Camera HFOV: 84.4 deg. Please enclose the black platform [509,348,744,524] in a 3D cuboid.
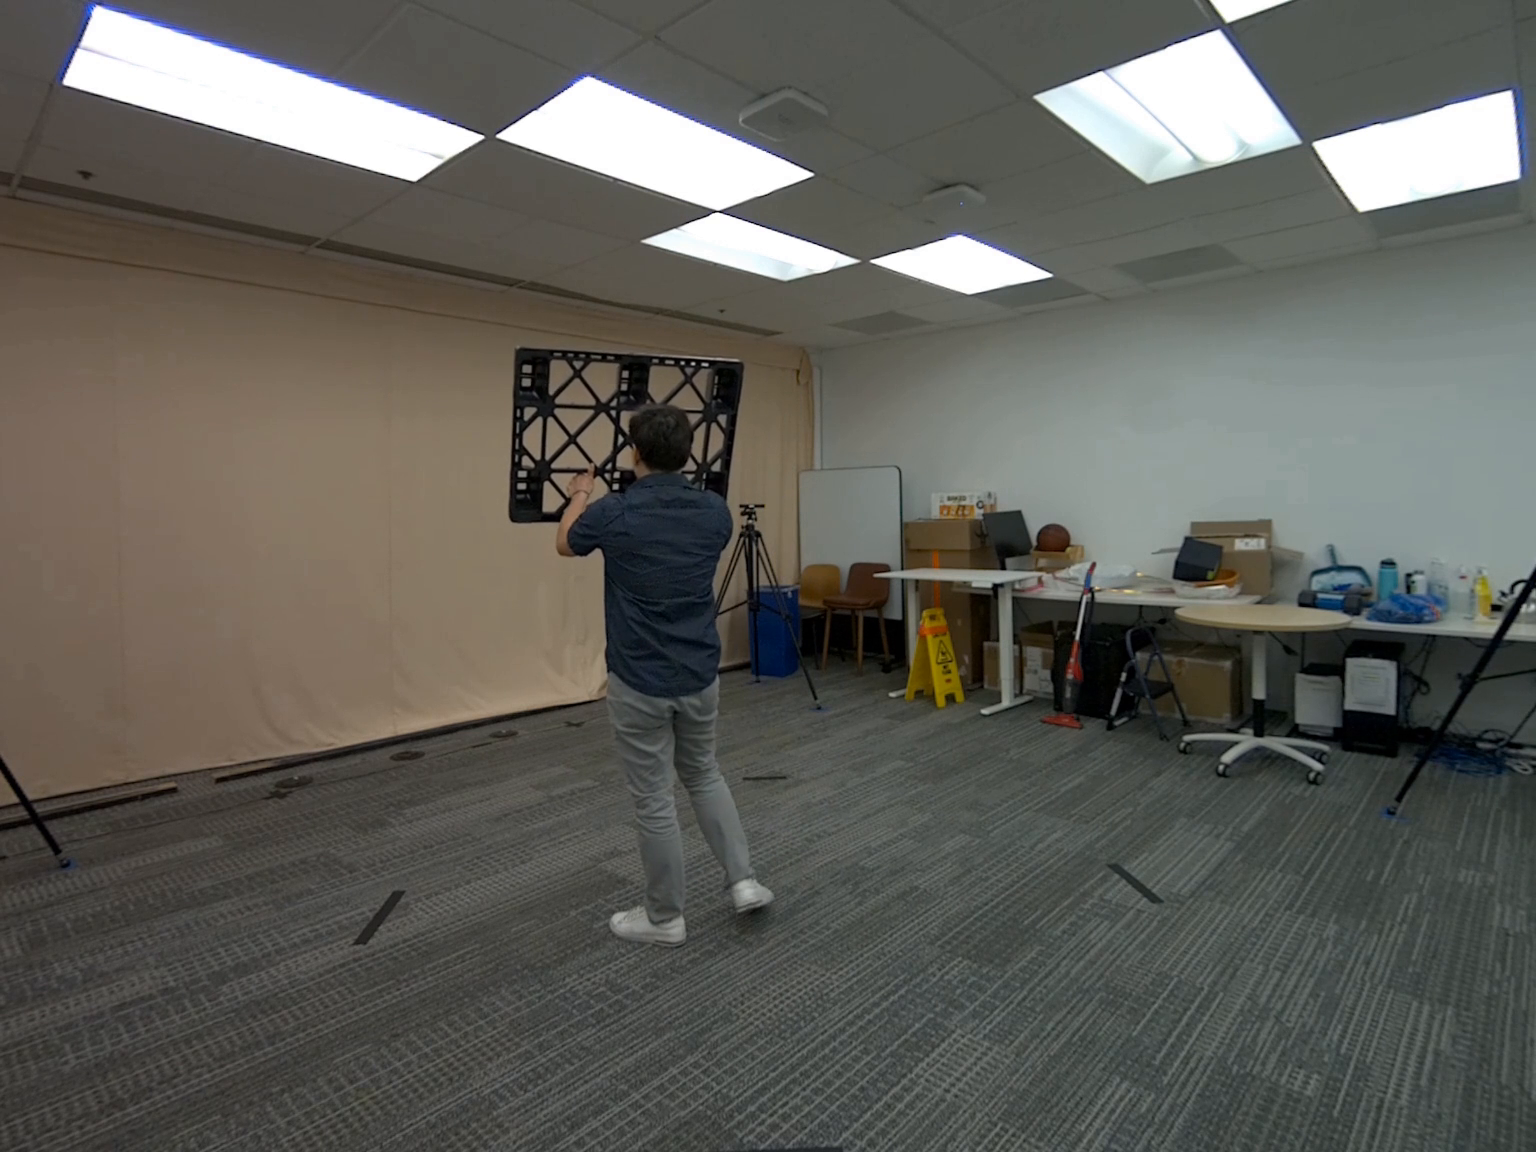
[{"bbox_3d":[-0.506,-0.496,2.979,0.788,0.599,0.148,-1,22,-23],"label":"black platform"}]
